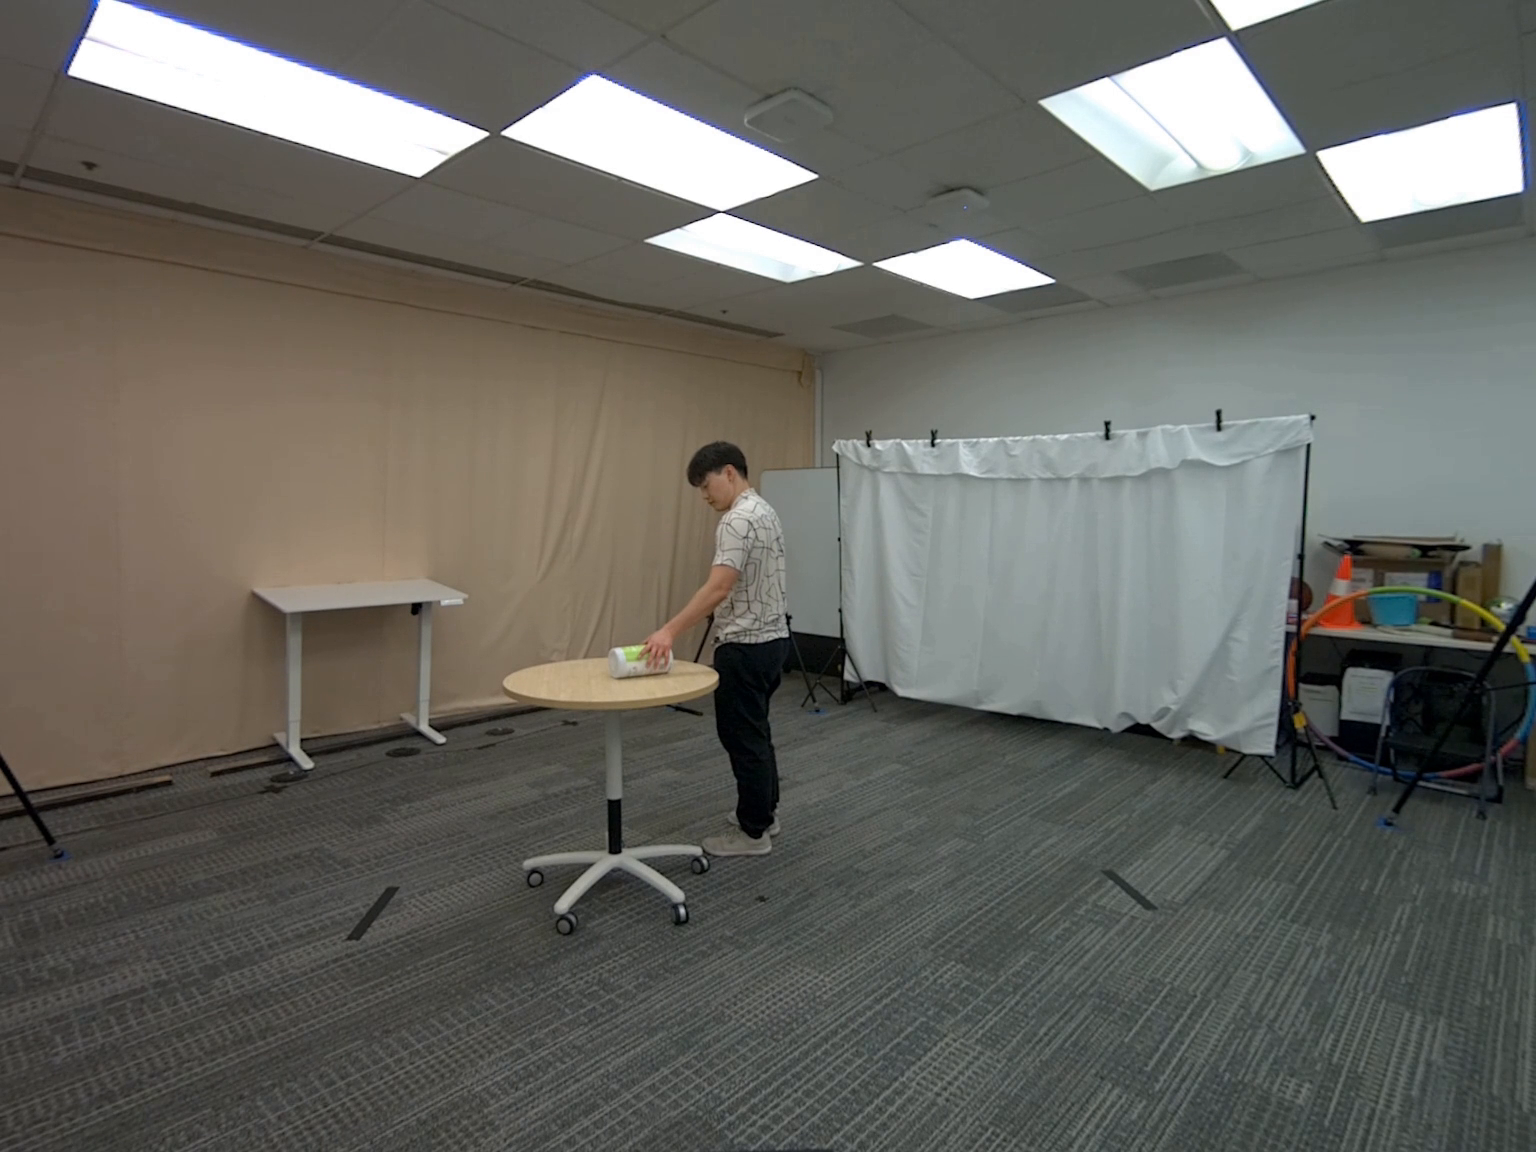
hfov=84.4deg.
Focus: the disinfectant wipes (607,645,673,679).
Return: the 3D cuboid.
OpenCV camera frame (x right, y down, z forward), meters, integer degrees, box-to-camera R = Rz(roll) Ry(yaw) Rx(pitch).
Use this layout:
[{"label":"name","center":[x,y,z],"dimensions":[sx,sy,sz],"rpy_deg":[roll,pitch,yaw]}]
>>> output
[{"label":"disinfectant wipes","center":[-0.460,0.304,3.044],"dimensions":[0.211,0.117,0.121],"rpy_deg":[-3,5,-30]}]
